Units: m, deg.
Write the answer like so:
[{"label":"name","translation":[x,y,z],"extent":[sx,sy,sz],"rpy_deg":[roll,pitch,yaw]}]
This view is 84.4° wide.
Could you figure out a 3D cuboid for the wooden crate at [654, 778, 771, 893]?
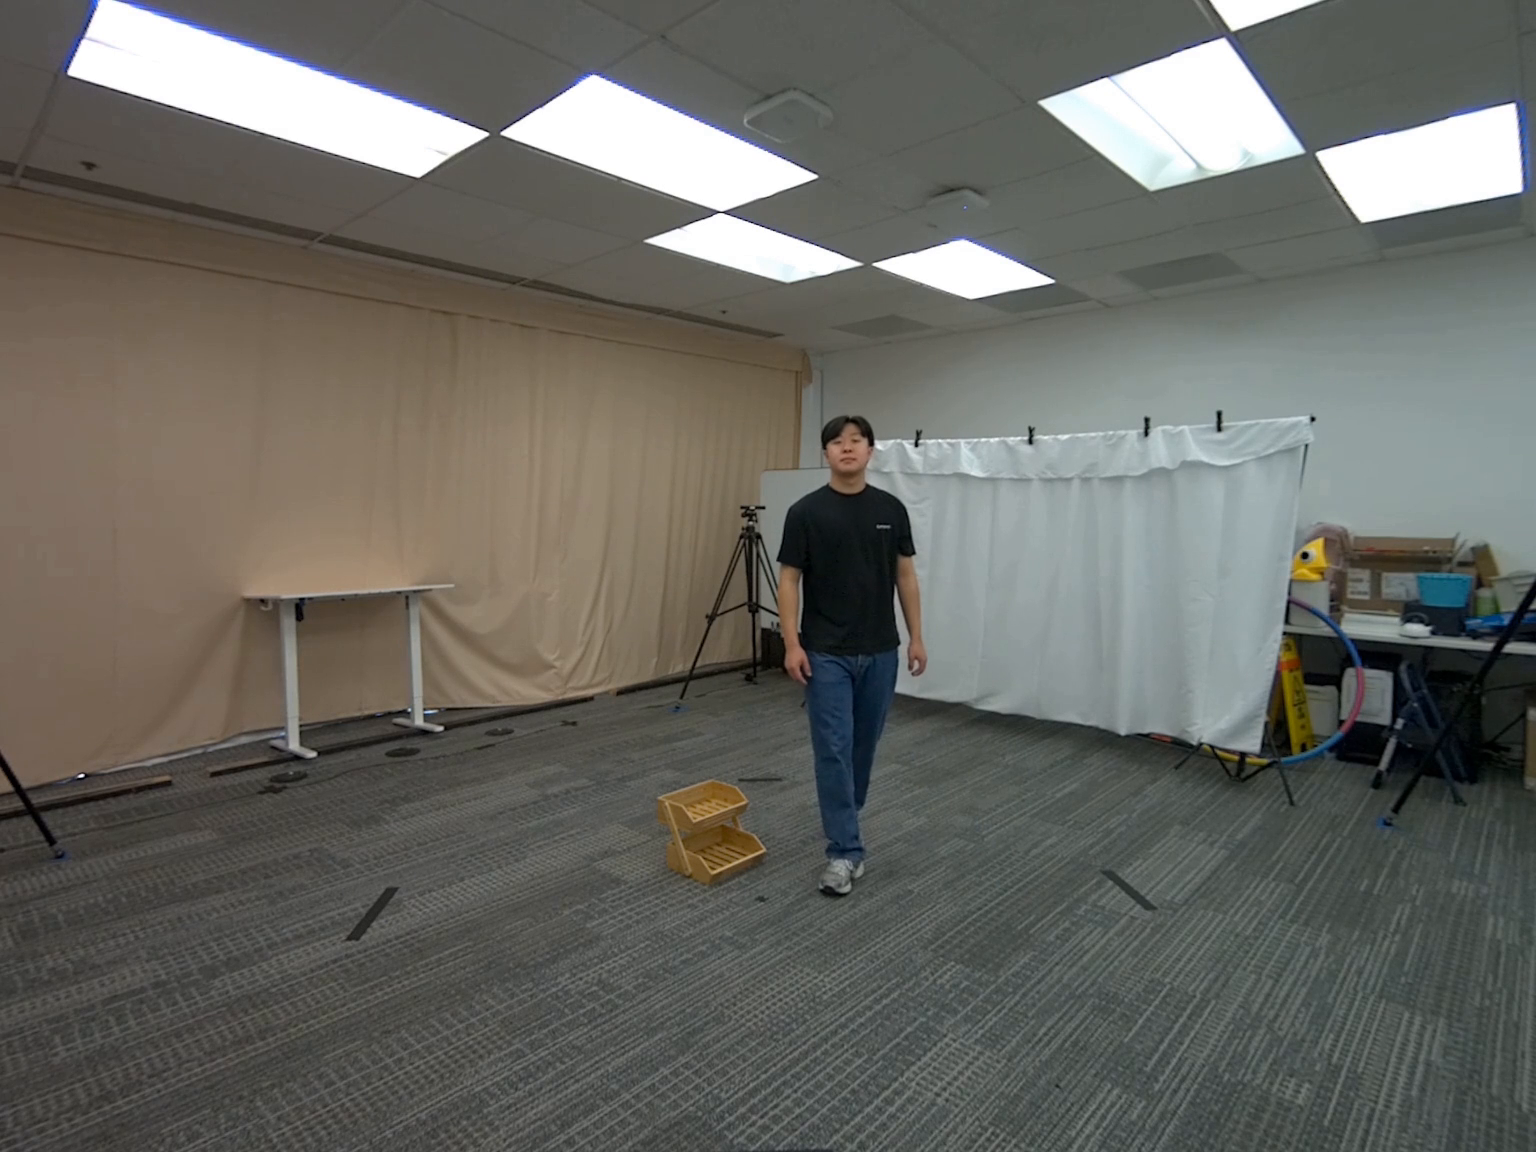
[{"label":"wooden crate","translation":[-0.216,0.988,3.282],"extent":[0.312,0.273,0.314],"rpy_deg":[3,5,44]}]
